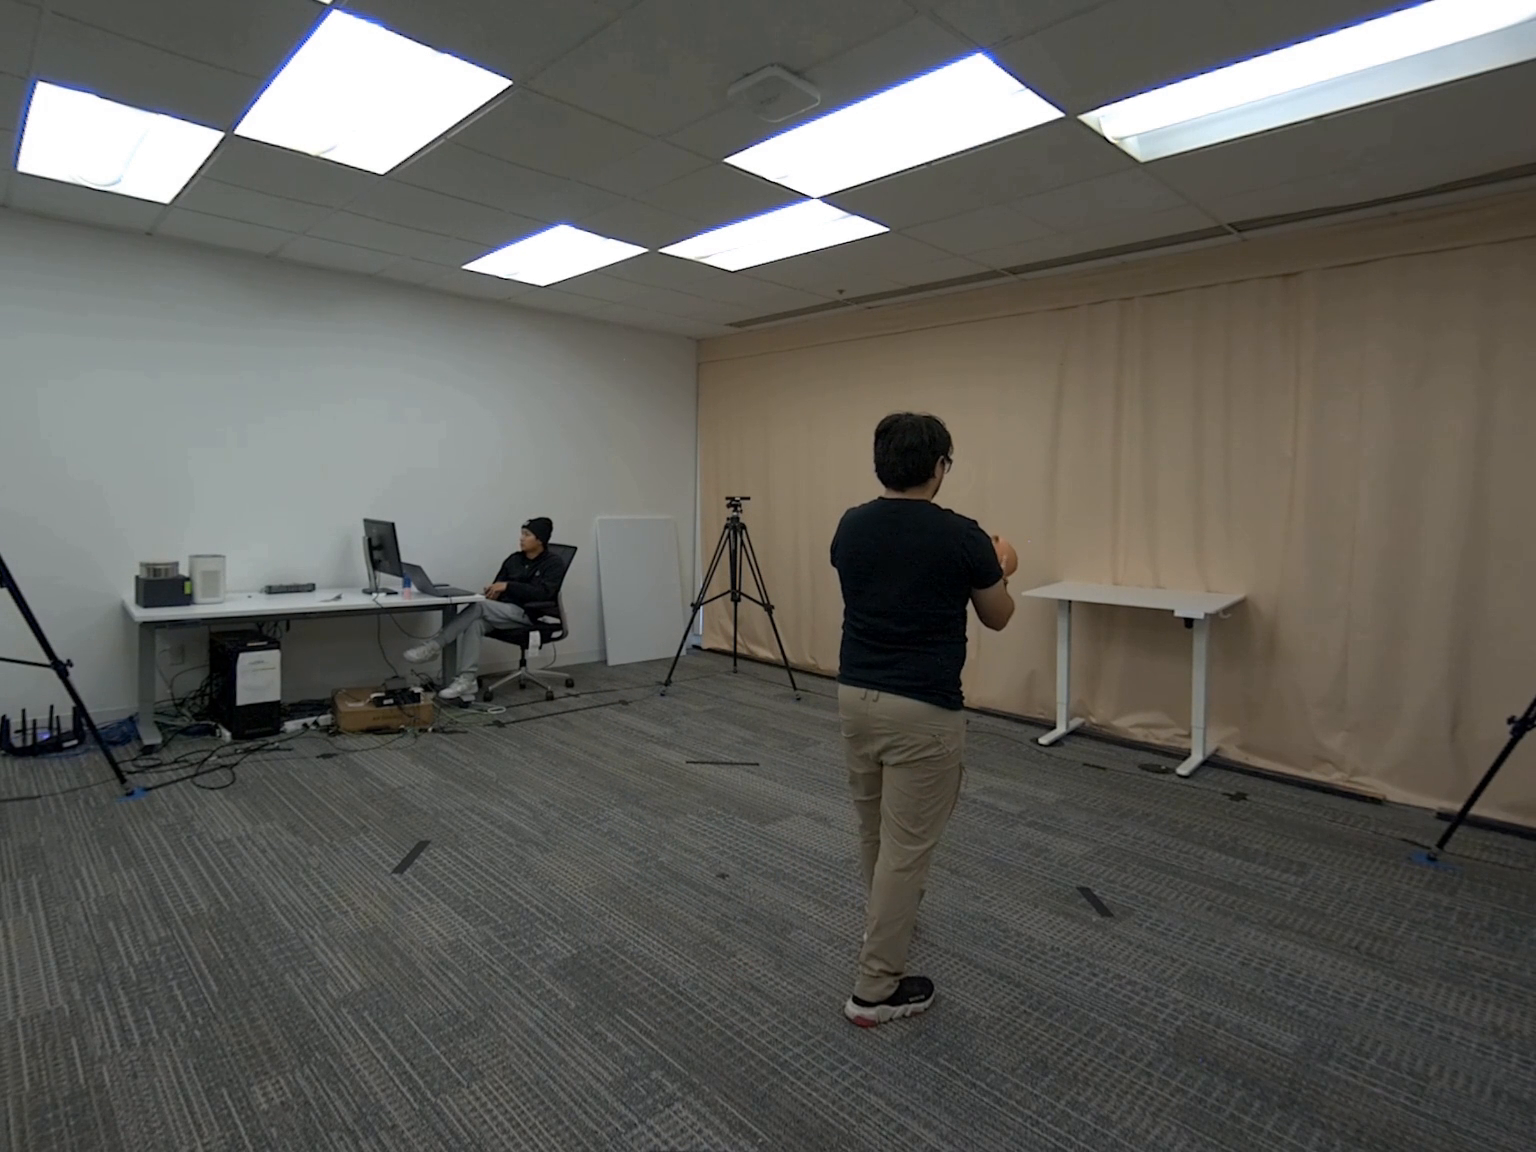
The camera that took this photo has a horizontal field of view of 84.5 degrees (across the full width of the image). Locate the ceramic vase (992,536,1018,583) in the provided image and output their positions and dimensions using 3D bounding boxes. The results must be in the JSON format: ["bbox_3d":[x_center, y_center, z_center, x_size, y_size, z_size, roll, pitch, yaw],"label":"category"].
[{"bbox_3d":[0.675,-0.023,2.674,0.217,0.160,0.135,-23,-5,-31],"label":"ceramic vase"}]
